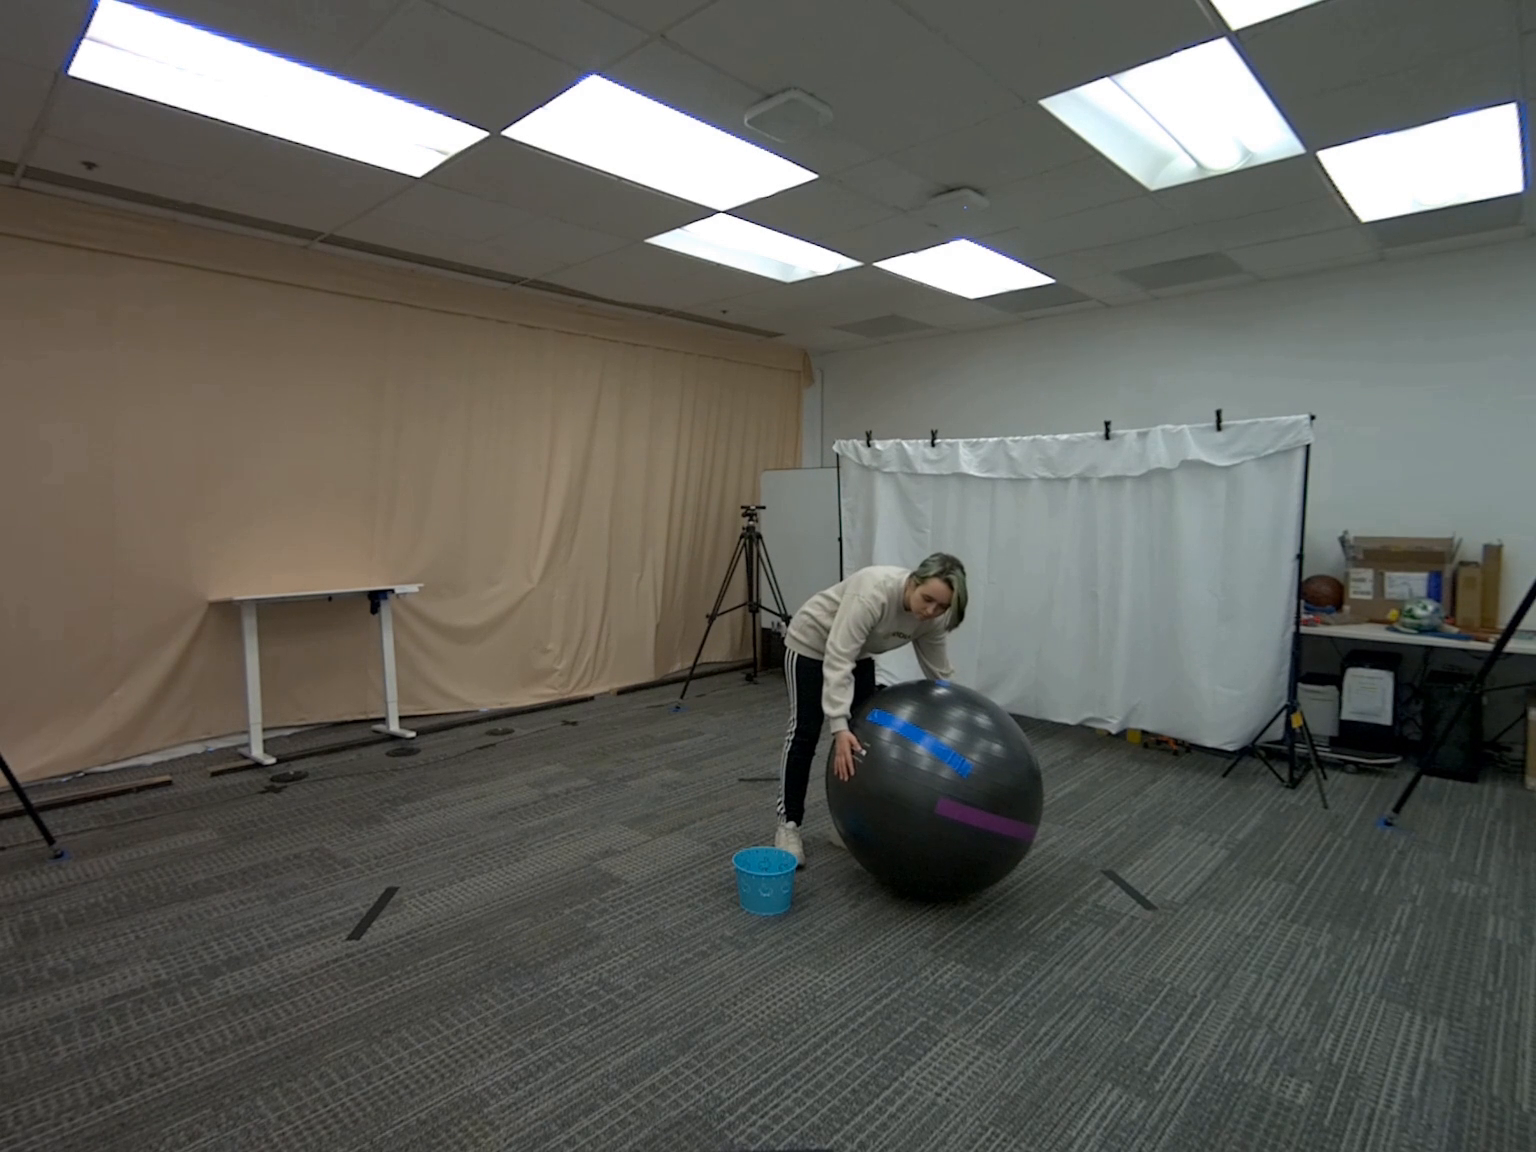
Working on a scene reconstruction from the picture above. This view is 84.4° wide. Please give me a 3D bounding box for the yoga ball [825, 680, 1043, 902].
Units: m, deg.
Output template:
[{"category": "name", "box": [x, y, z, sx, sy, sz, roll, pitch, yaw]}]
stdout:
[{"category": "yoga ball", "box": [0.603, 0.768, 3.047, 0.757, 0.756, 0.760, 0, 4, -2]}]
